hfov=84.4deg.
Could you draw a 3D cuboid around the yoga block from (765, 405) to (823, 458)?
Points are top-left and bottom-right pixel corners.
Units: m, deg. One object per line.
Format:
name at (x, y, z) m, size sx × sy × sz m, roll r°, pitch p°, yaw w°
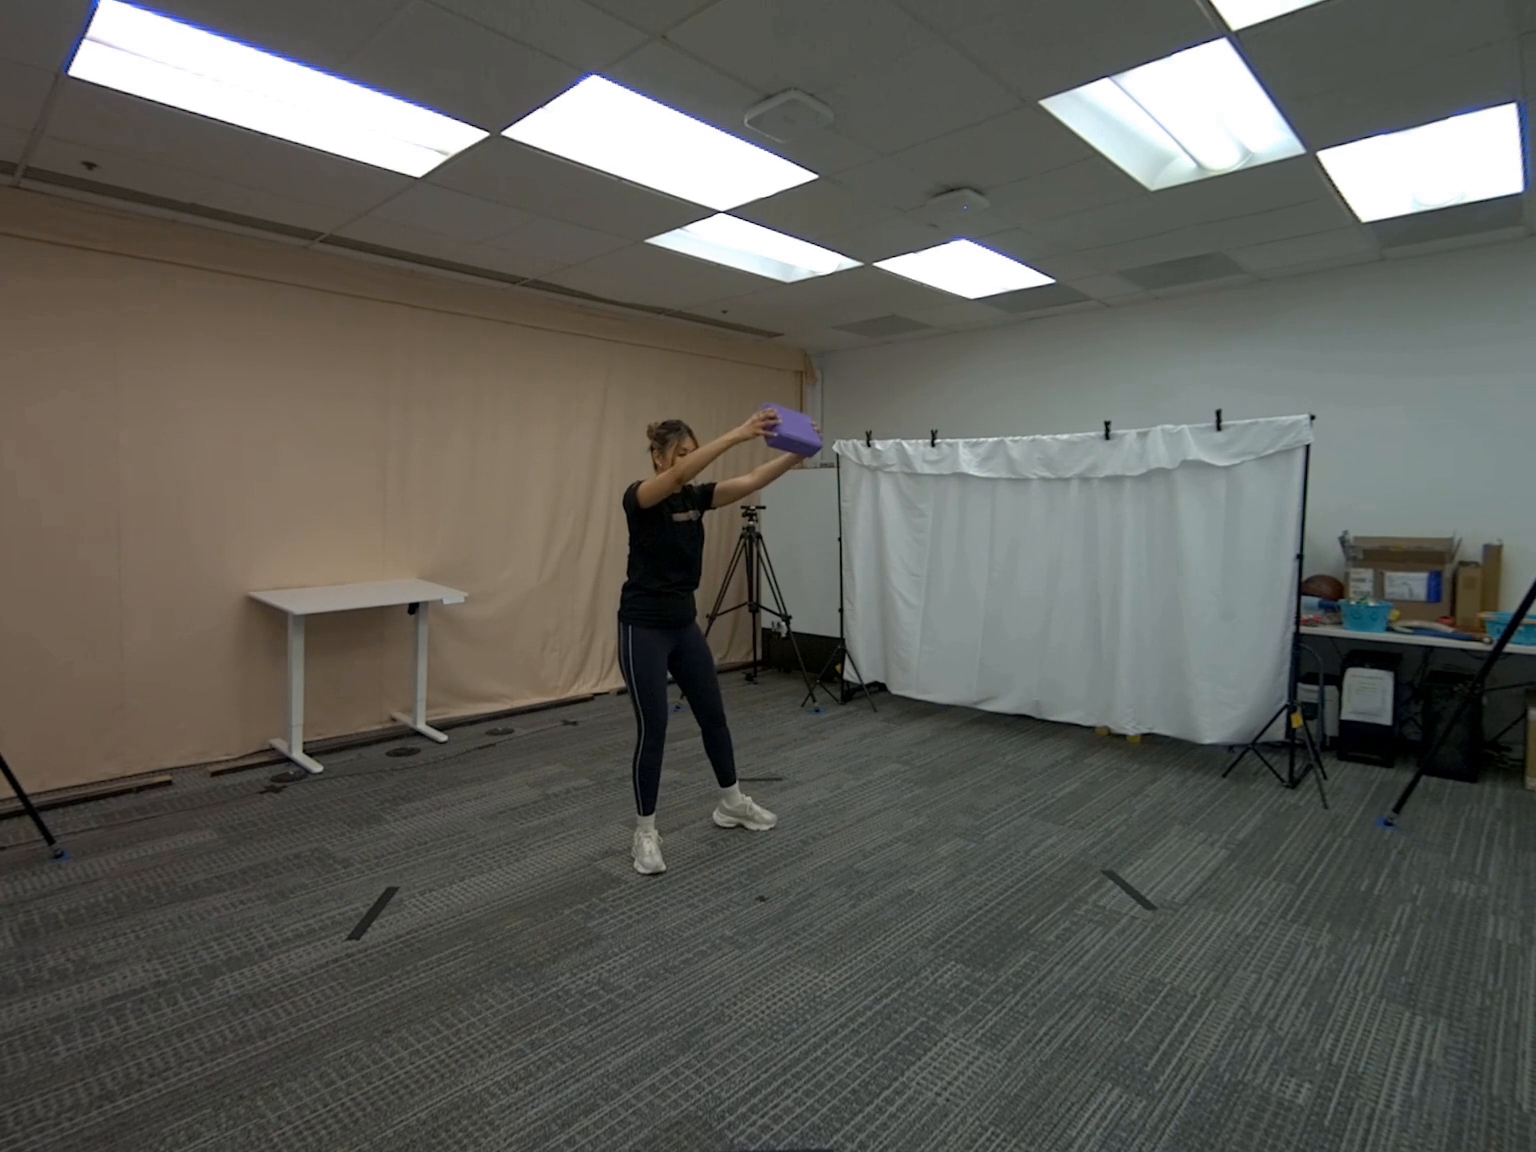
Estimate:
yoga block at (0.074, -0.500, 2.916) m, size 0.221 × 0.152 × 0.077 m, roll 9°, pitch -39°, yaw -44°
